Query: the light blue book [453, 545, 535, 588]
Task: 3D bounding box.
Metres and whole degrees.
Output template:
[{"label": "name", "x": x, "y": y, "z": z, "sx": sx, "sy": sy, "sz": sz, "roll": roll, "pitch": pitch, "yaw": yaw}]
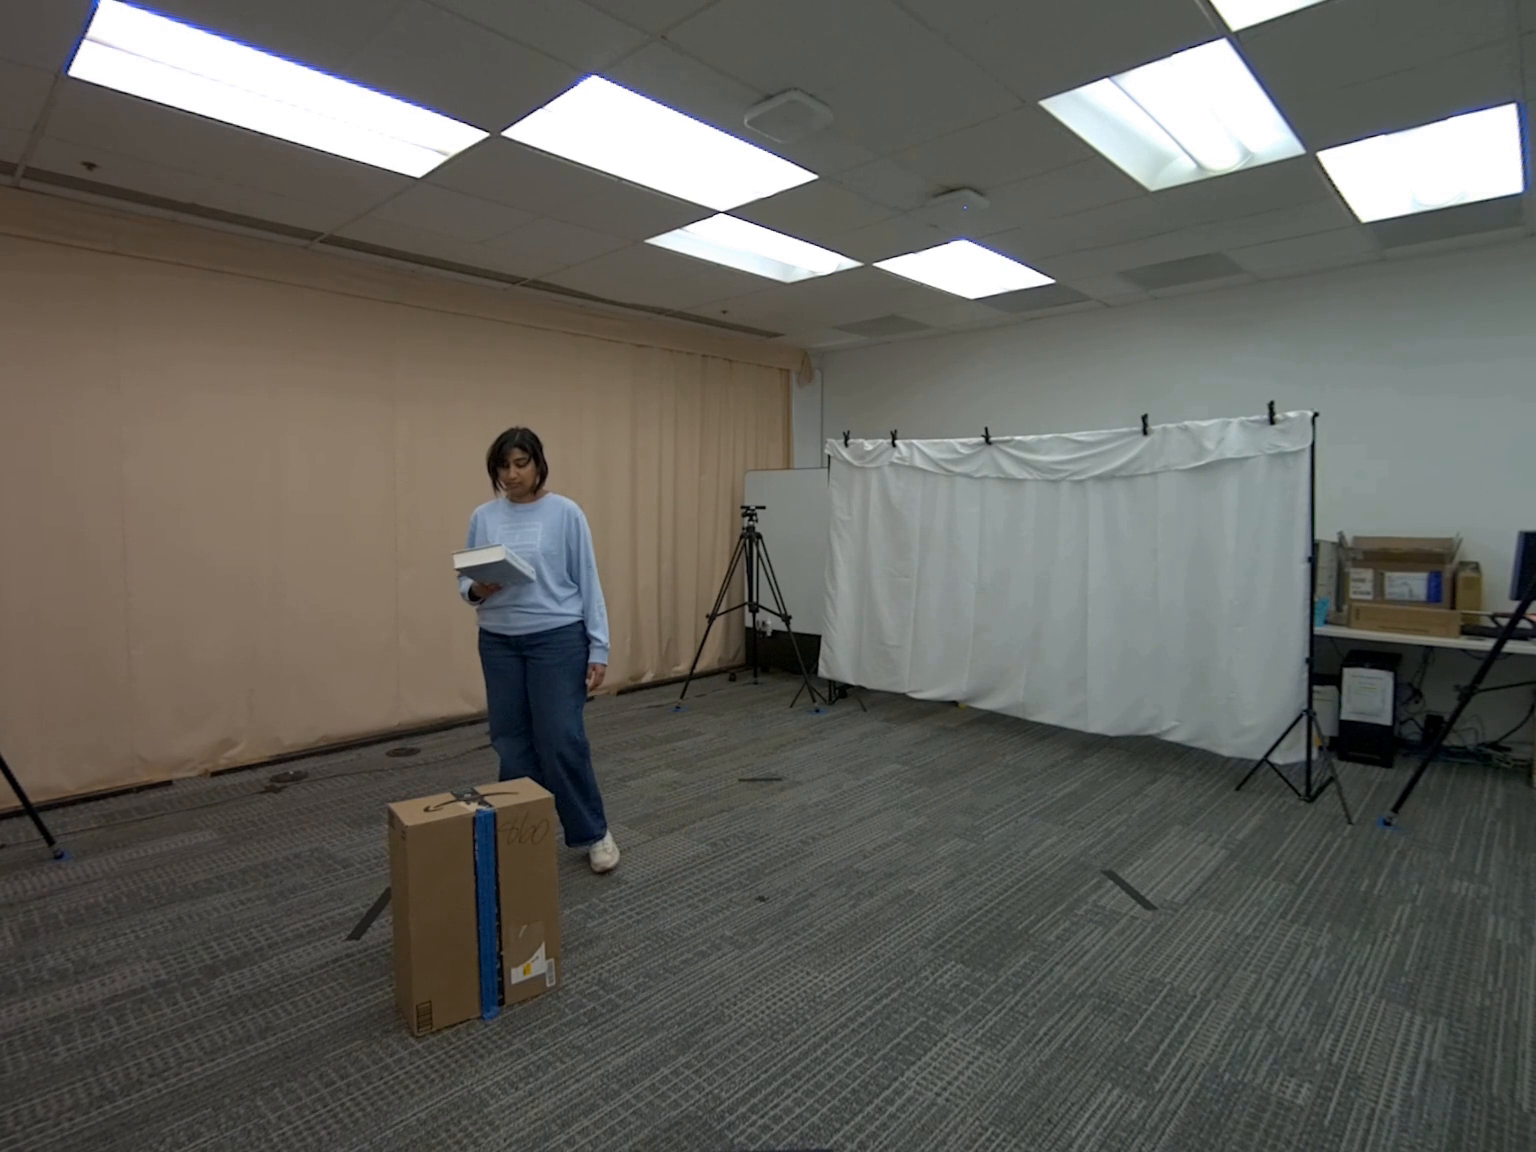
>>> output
[{"label": "light blue book", "x": -0.965, "y": -0.030, "z": 2.932, "sx": 0.193, "sy": 0.060, "sz": 0.255, "roll": -8, "pitch": -19, "yaw": 7}]
